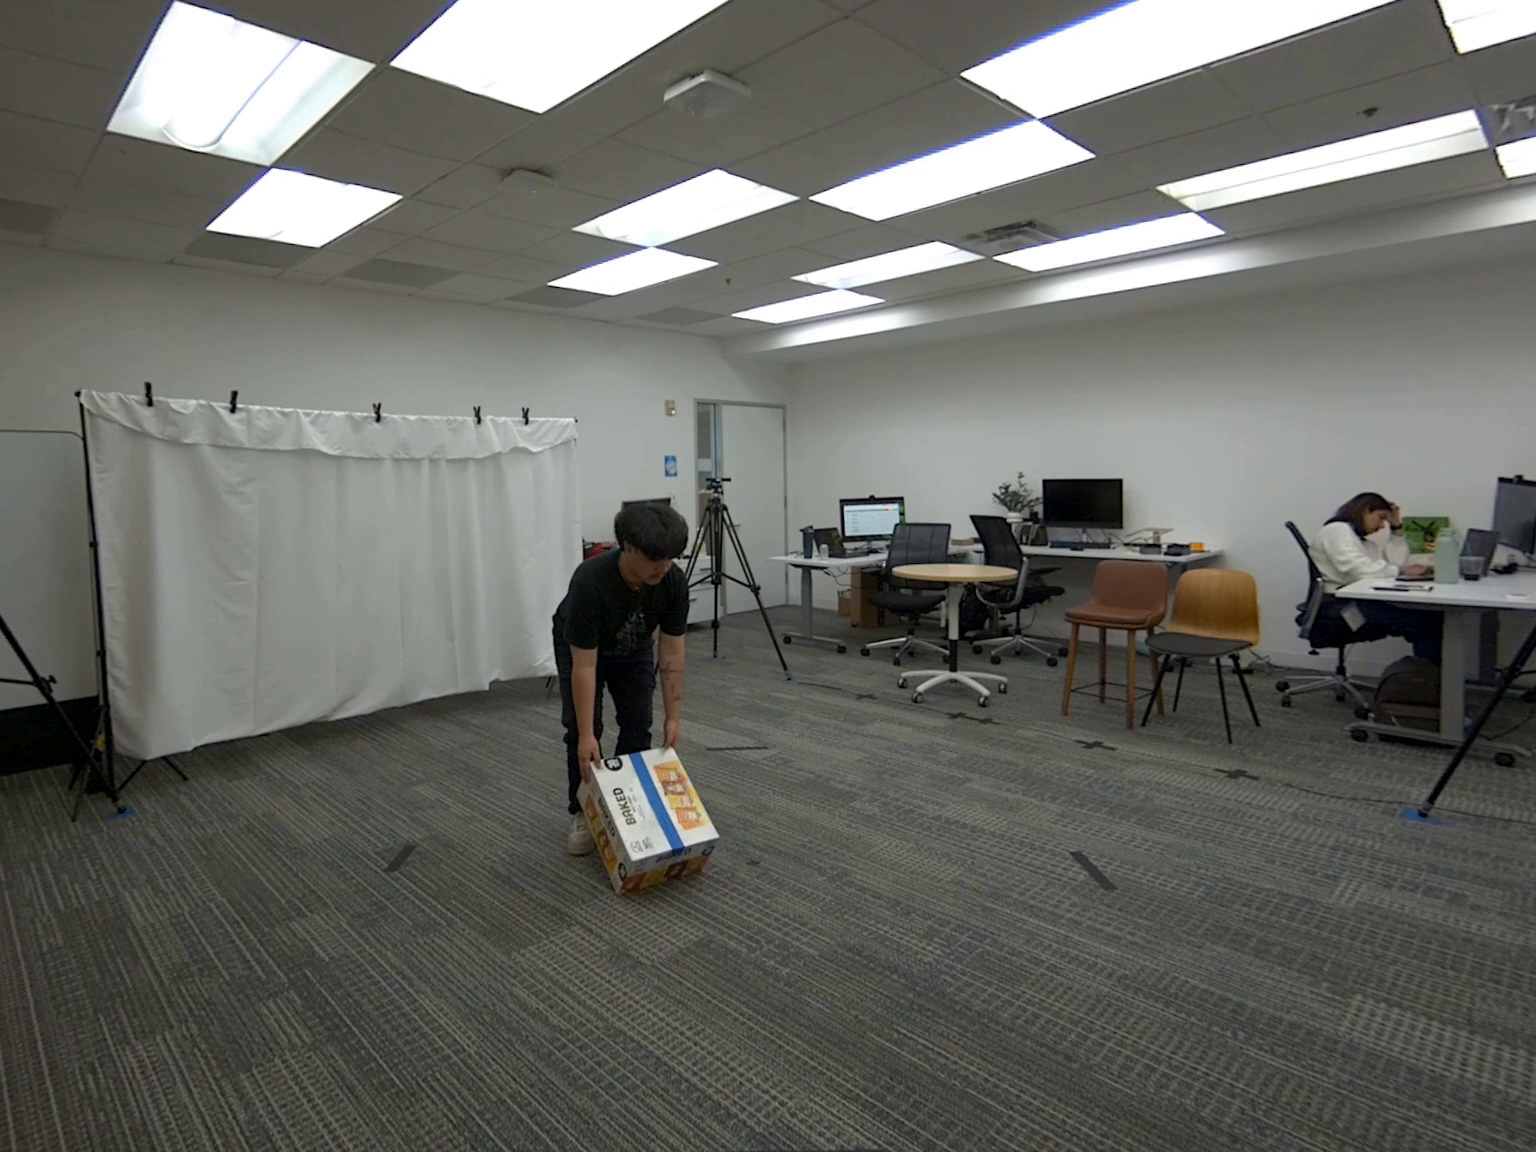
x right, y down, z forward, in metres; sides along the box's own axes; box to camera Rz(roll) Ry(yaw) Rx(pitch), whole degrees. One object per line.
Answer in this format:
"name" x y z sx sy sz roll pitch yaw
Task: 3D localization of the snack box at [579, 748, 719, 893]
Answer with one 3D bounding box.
"snack box" -0.435 0.857 3.031 0.332 0.203 0.421 -4 42 -34
